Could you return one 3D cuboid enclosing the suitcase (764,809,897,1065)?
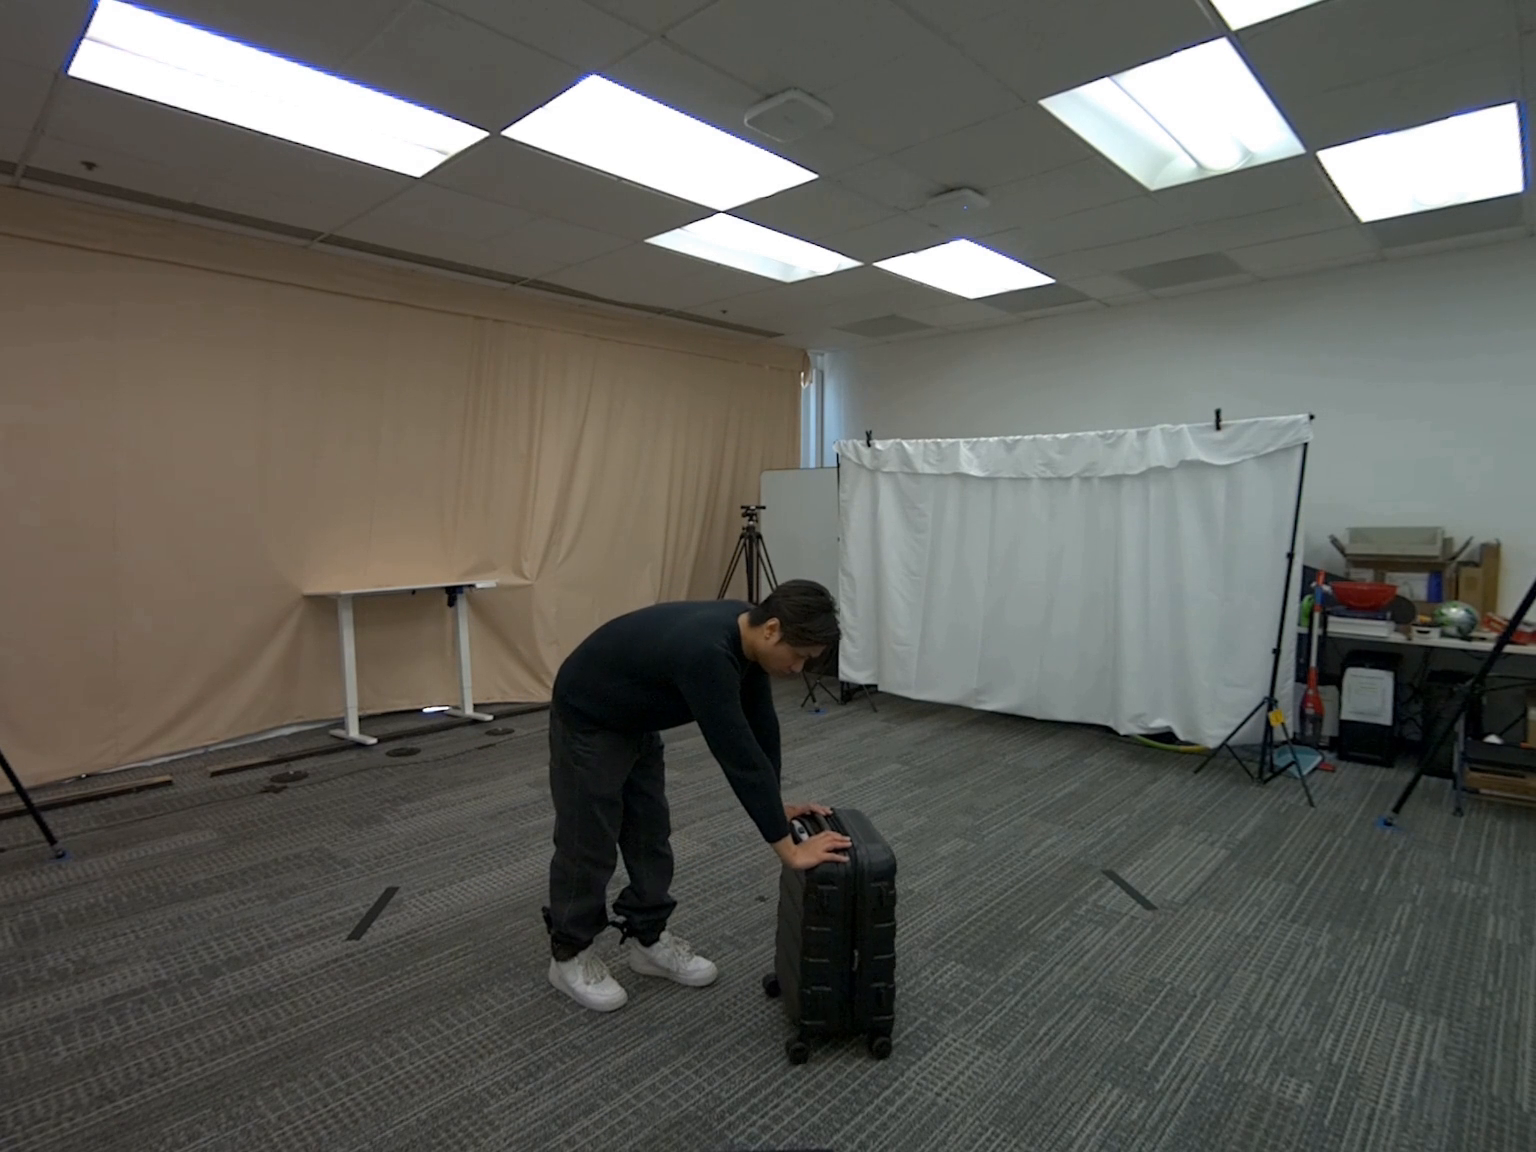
[{"bbox_3d":[0.178,0.933,2.254,0.246,0.548,0.379,2,3,-9],"label":"suitcase"}]
